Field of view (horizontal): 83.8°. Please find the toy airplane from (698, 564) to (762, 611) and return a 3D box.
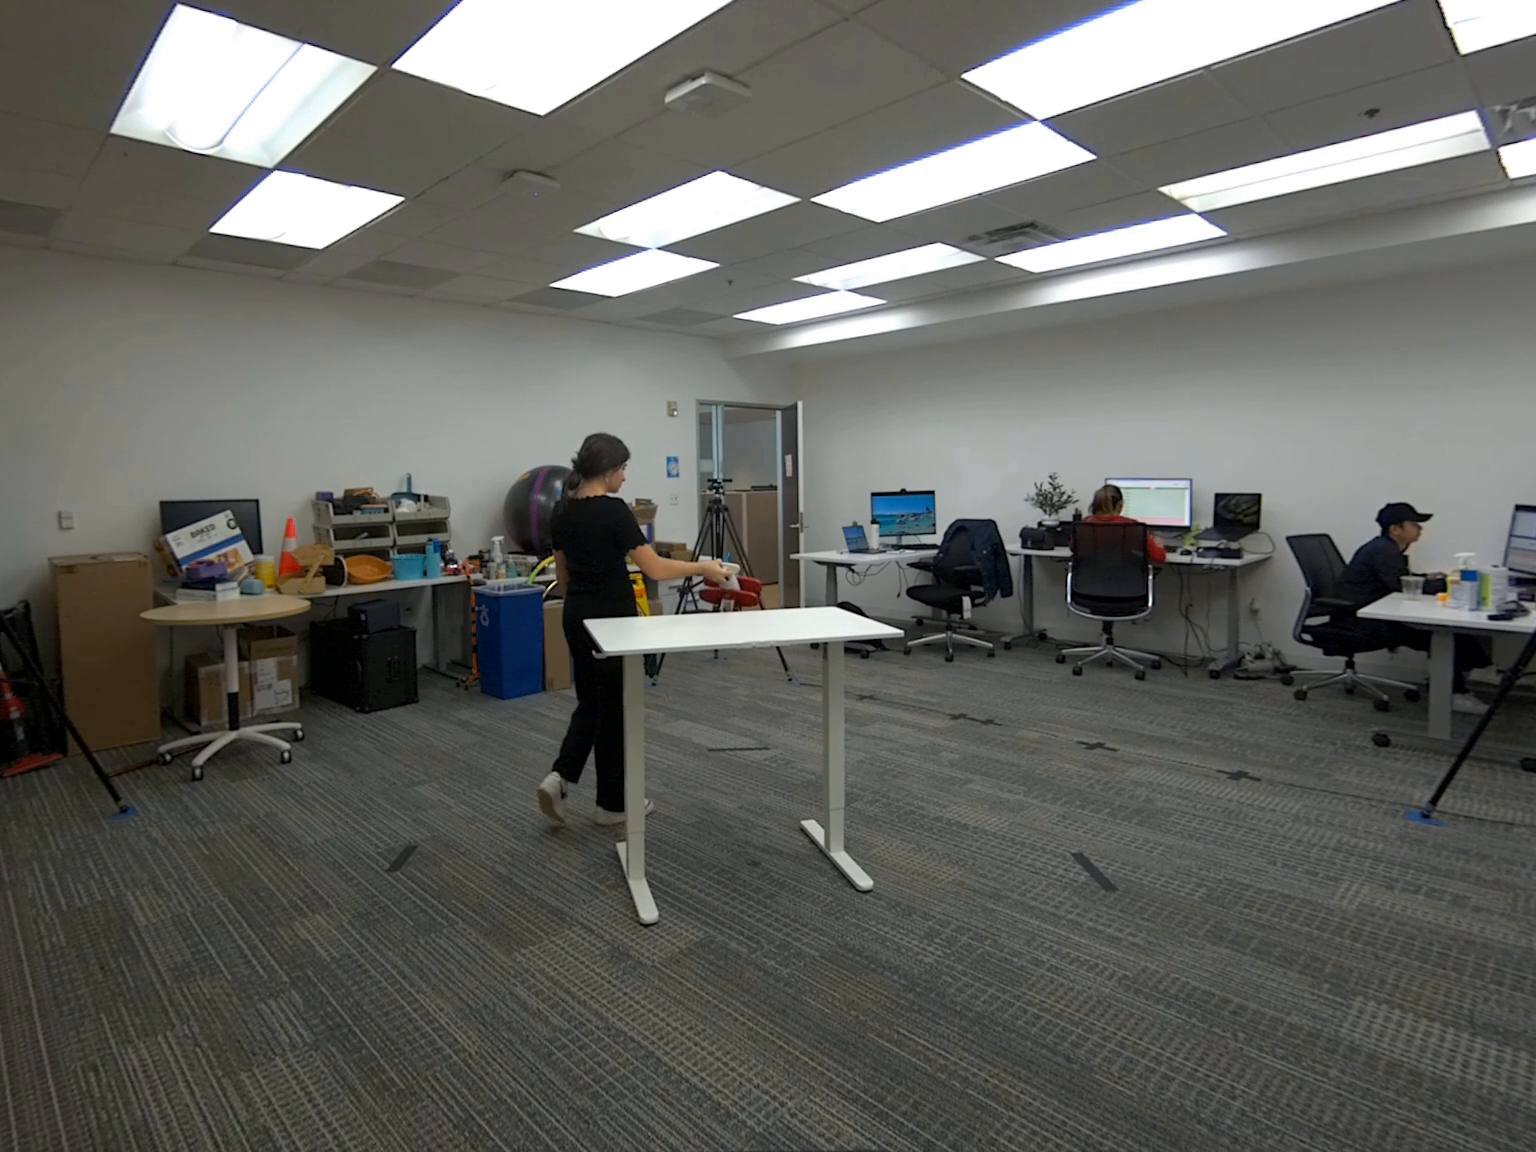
[{"bbox_3d":[-0.150,0.031,3.540,0.250,0.257,0.158,27,37,-3],"label":"toy airplane"}]
